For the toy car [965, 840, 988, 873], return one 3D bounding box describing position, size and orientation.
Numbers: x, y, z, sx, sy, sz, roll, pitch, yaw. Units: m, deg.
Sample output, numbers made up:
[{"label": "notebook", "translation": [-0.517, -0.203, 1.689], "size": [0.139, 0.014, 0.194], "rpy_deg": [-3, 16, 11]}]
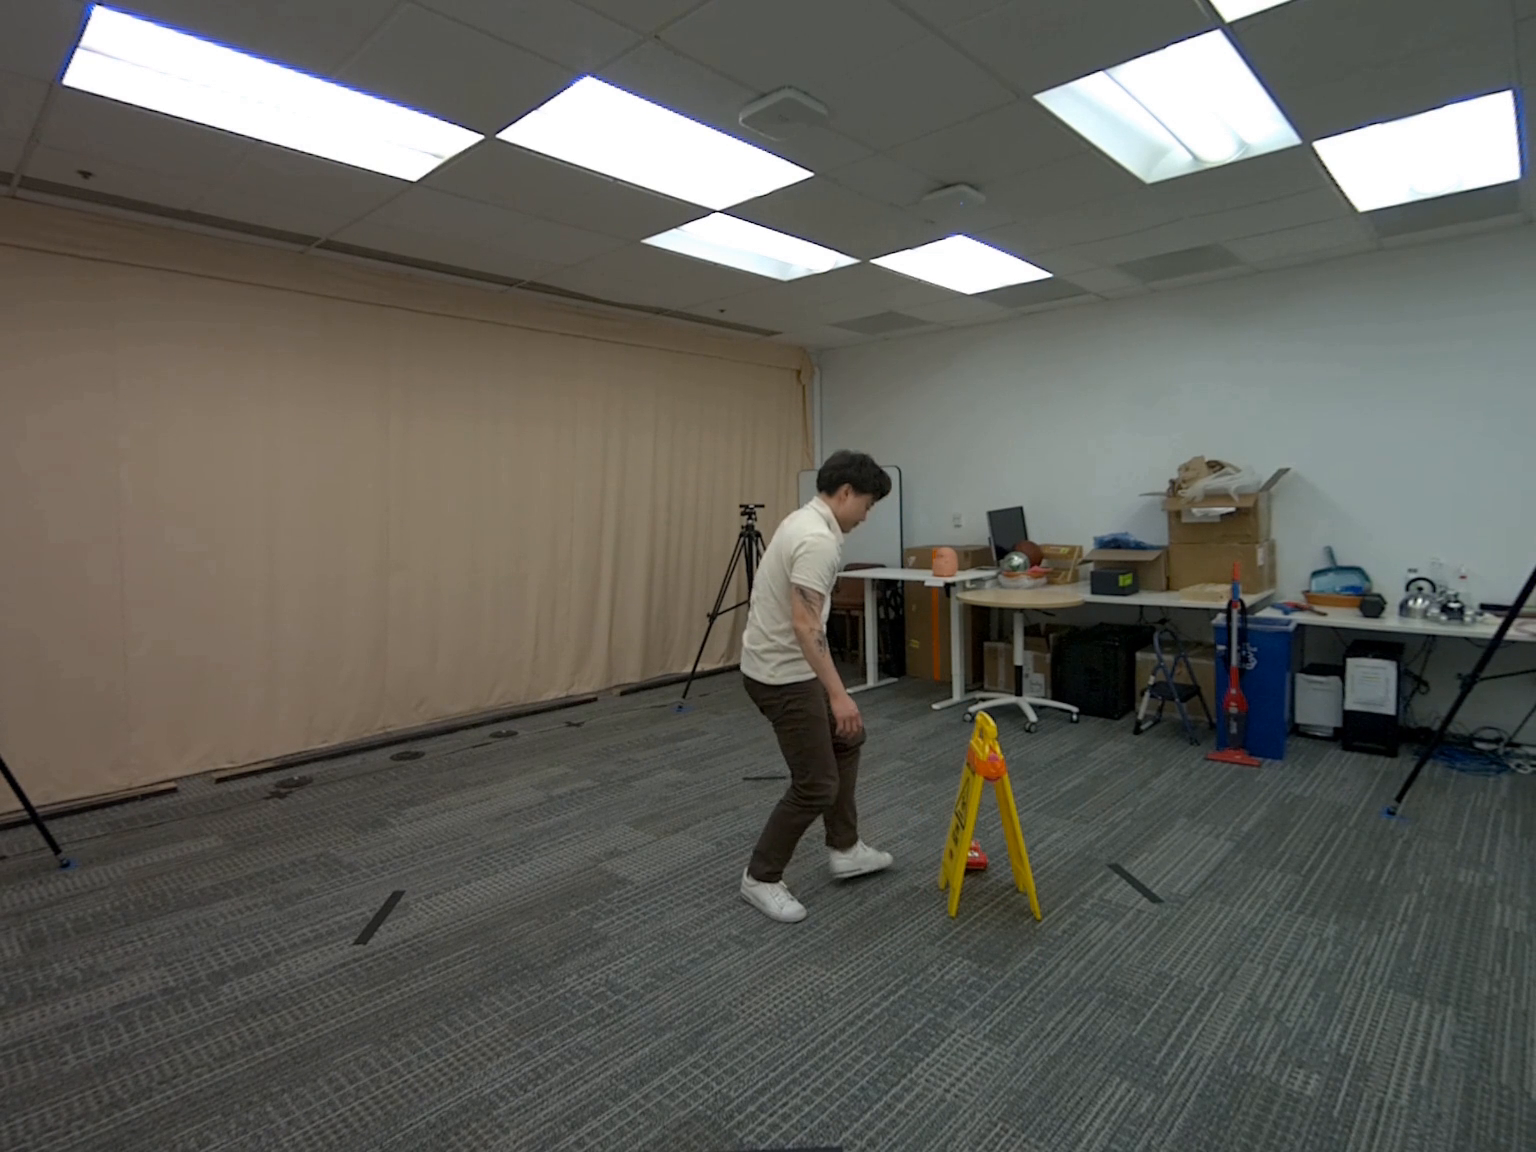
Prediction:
[{"label": "toy car", "translation": [0.779, 1.072, 3.244], "size": [0.131, 0.083, 0.253], "rpy_deg": [1, -4, 1]}]
